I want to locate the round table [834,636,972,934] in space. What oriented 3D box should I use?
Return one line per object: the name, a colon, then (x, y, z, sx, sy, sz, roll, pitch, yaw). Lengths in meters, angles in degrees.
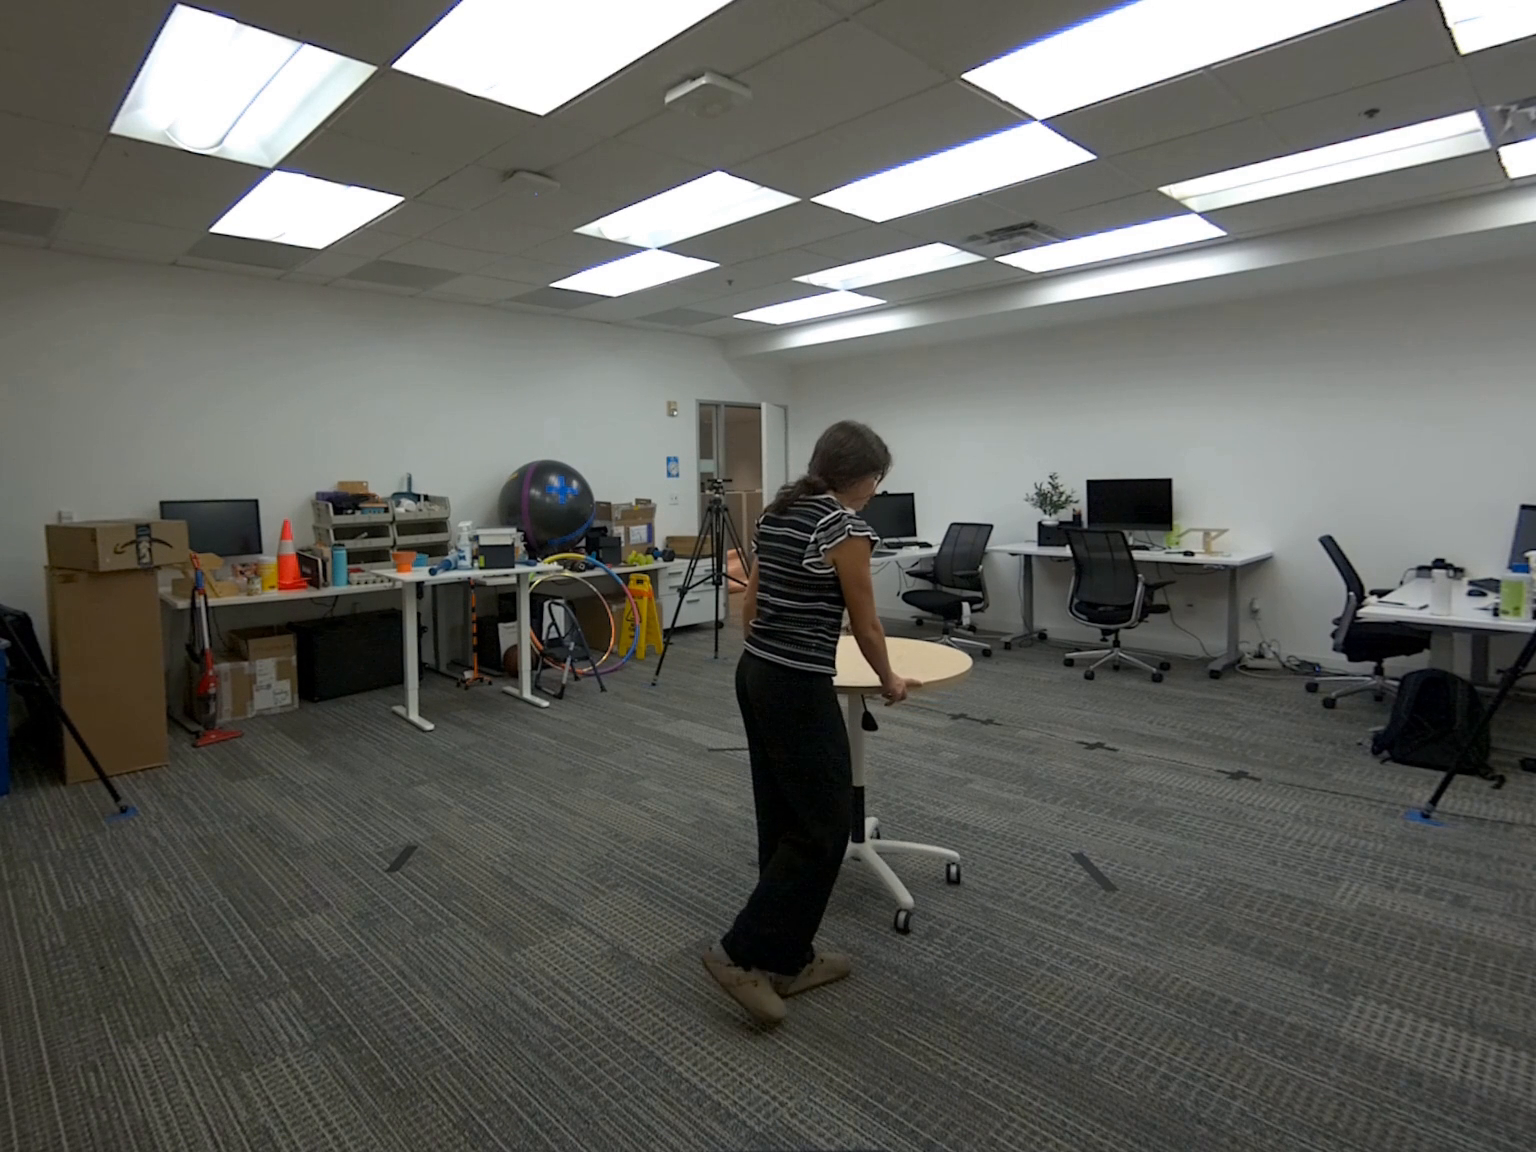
round table: (0.311, 0.671, 2.940, 0.763, 0.791, 0.768, -1, 5, -2)
